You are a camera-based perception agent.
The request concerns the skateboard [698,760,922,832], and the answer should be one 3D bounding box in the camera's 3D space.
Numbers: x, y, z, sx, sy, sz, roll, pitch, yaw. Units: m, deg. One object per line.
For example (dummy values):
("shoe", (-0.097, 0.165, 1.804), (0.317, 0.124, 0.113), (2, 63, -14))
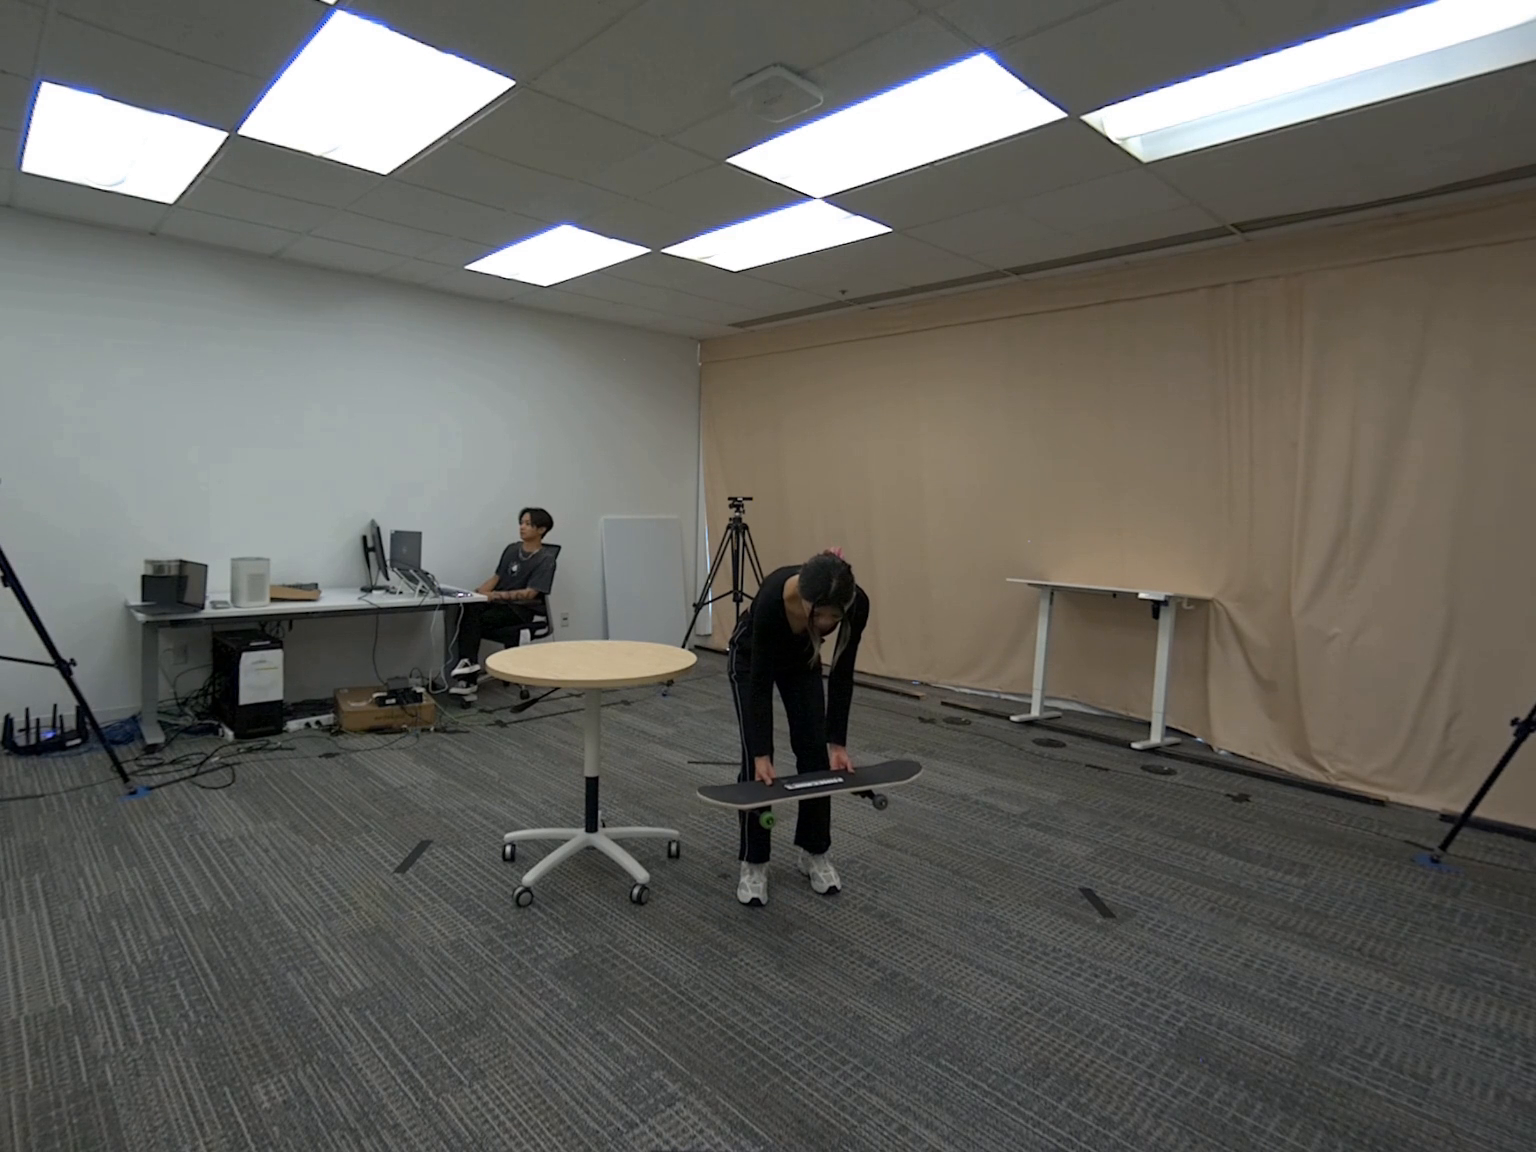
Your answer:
("skateboard", (0.145, 0.697, 2.687), (0.772, 0.110, 0.197), (-3, 3, -24))
